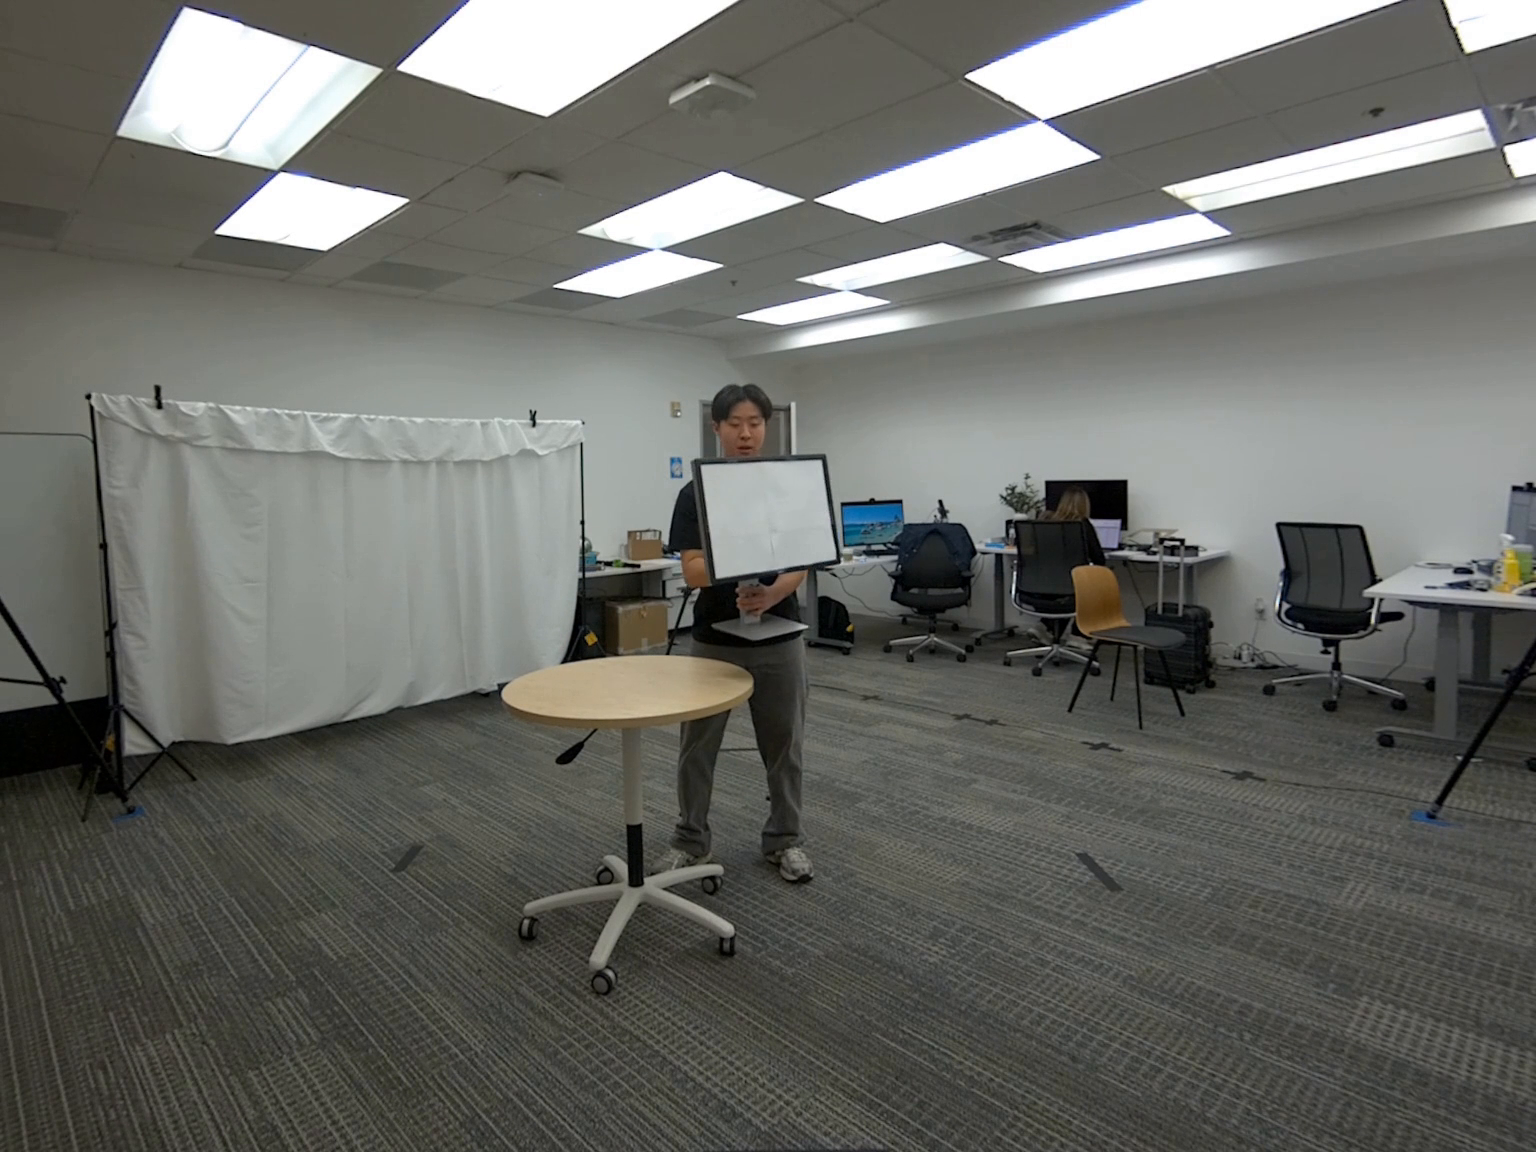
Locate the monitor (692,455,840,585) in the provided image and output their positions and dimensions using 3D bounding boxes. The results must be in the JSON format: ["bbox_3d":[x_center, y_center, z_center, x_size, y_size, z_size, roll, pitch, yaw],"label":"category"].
[{"bbox_3d":[-0.022,-0.085,2.643,0.548,0.560,0.230,-8,15,-41],"label":"monitor"}]
